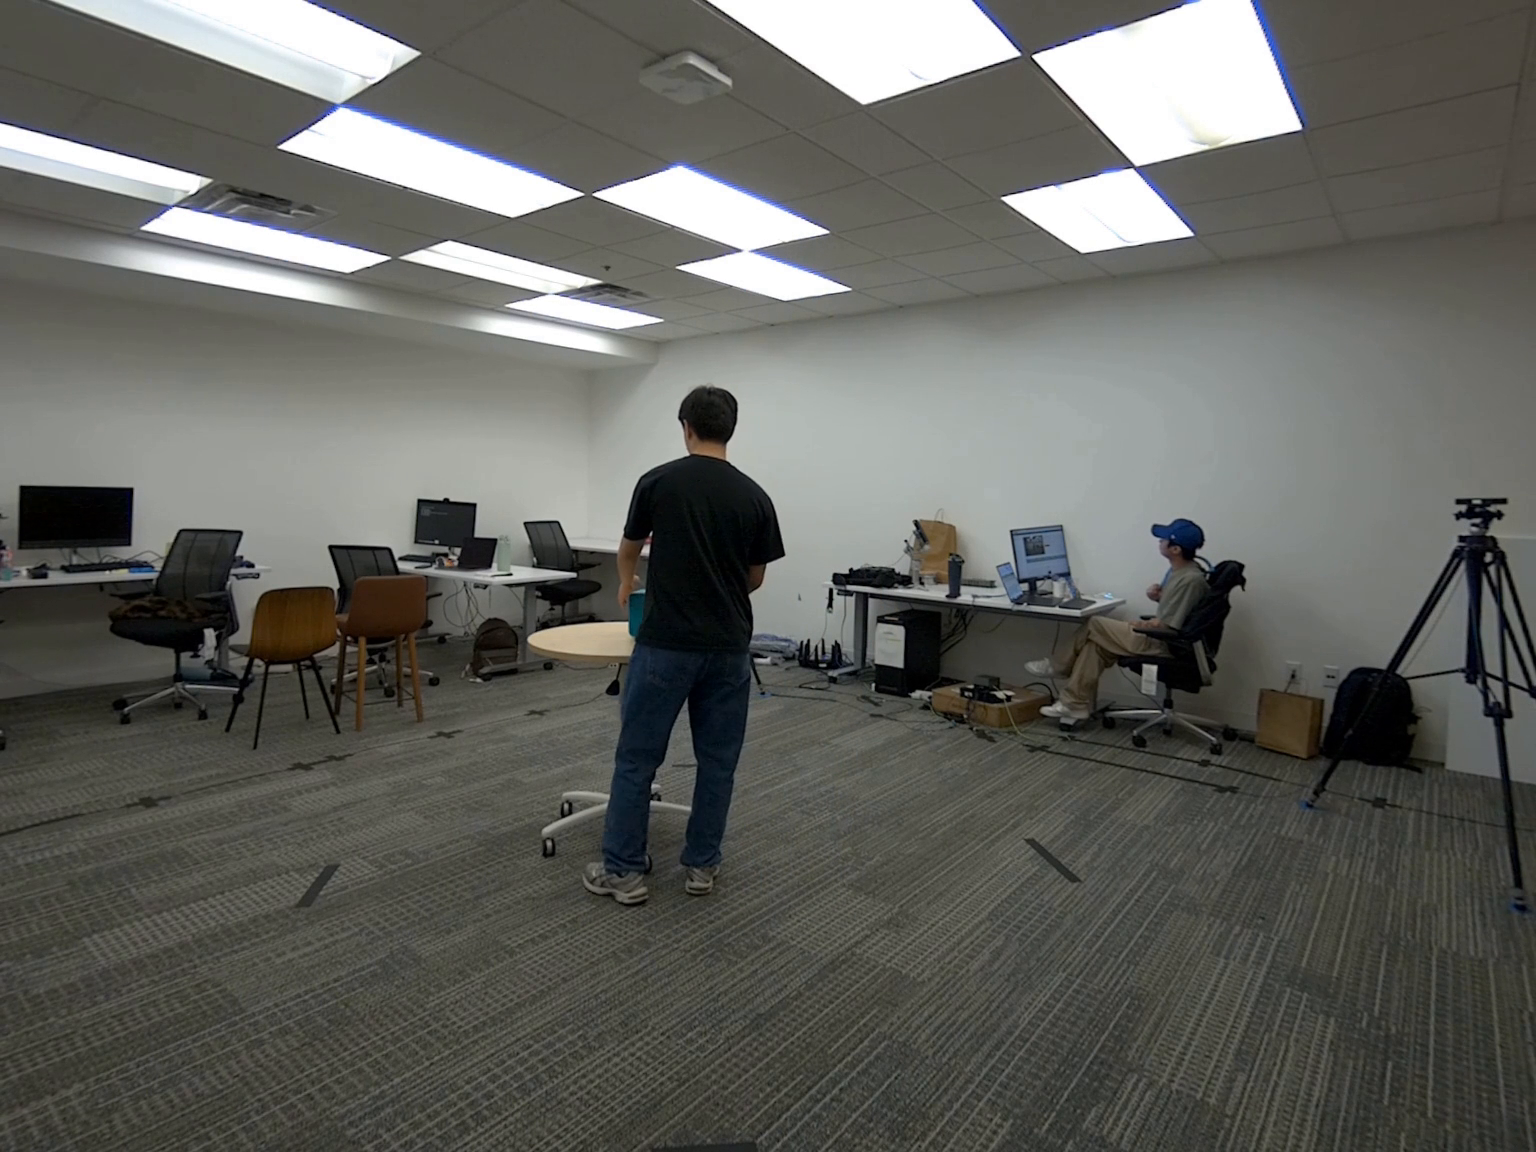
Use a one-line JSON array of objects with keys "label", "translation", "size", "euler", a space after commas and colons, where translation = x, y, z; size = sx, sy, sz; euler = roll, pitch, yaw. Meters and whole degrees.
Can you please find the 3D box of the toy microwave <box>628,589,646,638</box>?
[{"label": "toy microwave", "translation": [-0.409, 0.149, 3.379], "size": [0.290, 0.184, 0.150], "euler": [2, 3, 13]}]
